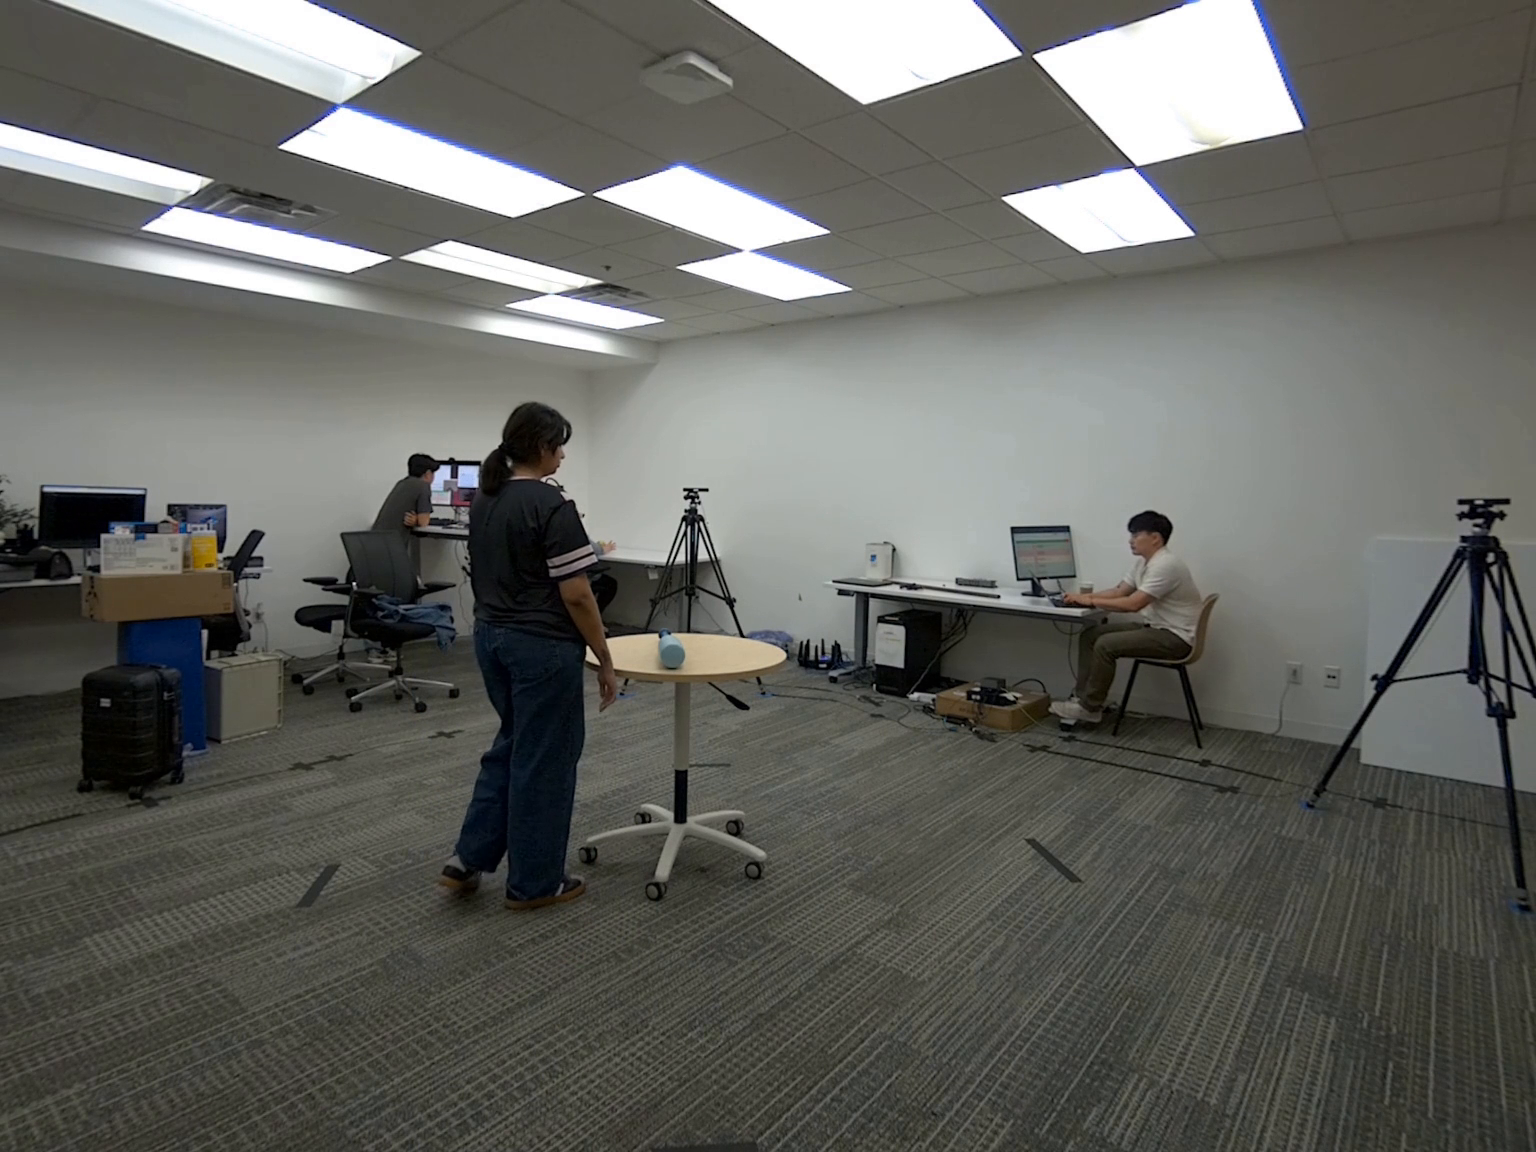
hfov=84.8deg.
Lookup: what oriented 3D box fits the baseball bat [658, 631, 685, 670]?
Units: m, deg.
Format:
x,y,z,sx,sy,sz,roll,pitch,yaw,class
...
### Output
x,y,z,sx,sy,sz,roll,pitch,yaw,class
-0.372,0.247,3.101,0.088,0.089,0.550,0,4,-11,baseball bat
